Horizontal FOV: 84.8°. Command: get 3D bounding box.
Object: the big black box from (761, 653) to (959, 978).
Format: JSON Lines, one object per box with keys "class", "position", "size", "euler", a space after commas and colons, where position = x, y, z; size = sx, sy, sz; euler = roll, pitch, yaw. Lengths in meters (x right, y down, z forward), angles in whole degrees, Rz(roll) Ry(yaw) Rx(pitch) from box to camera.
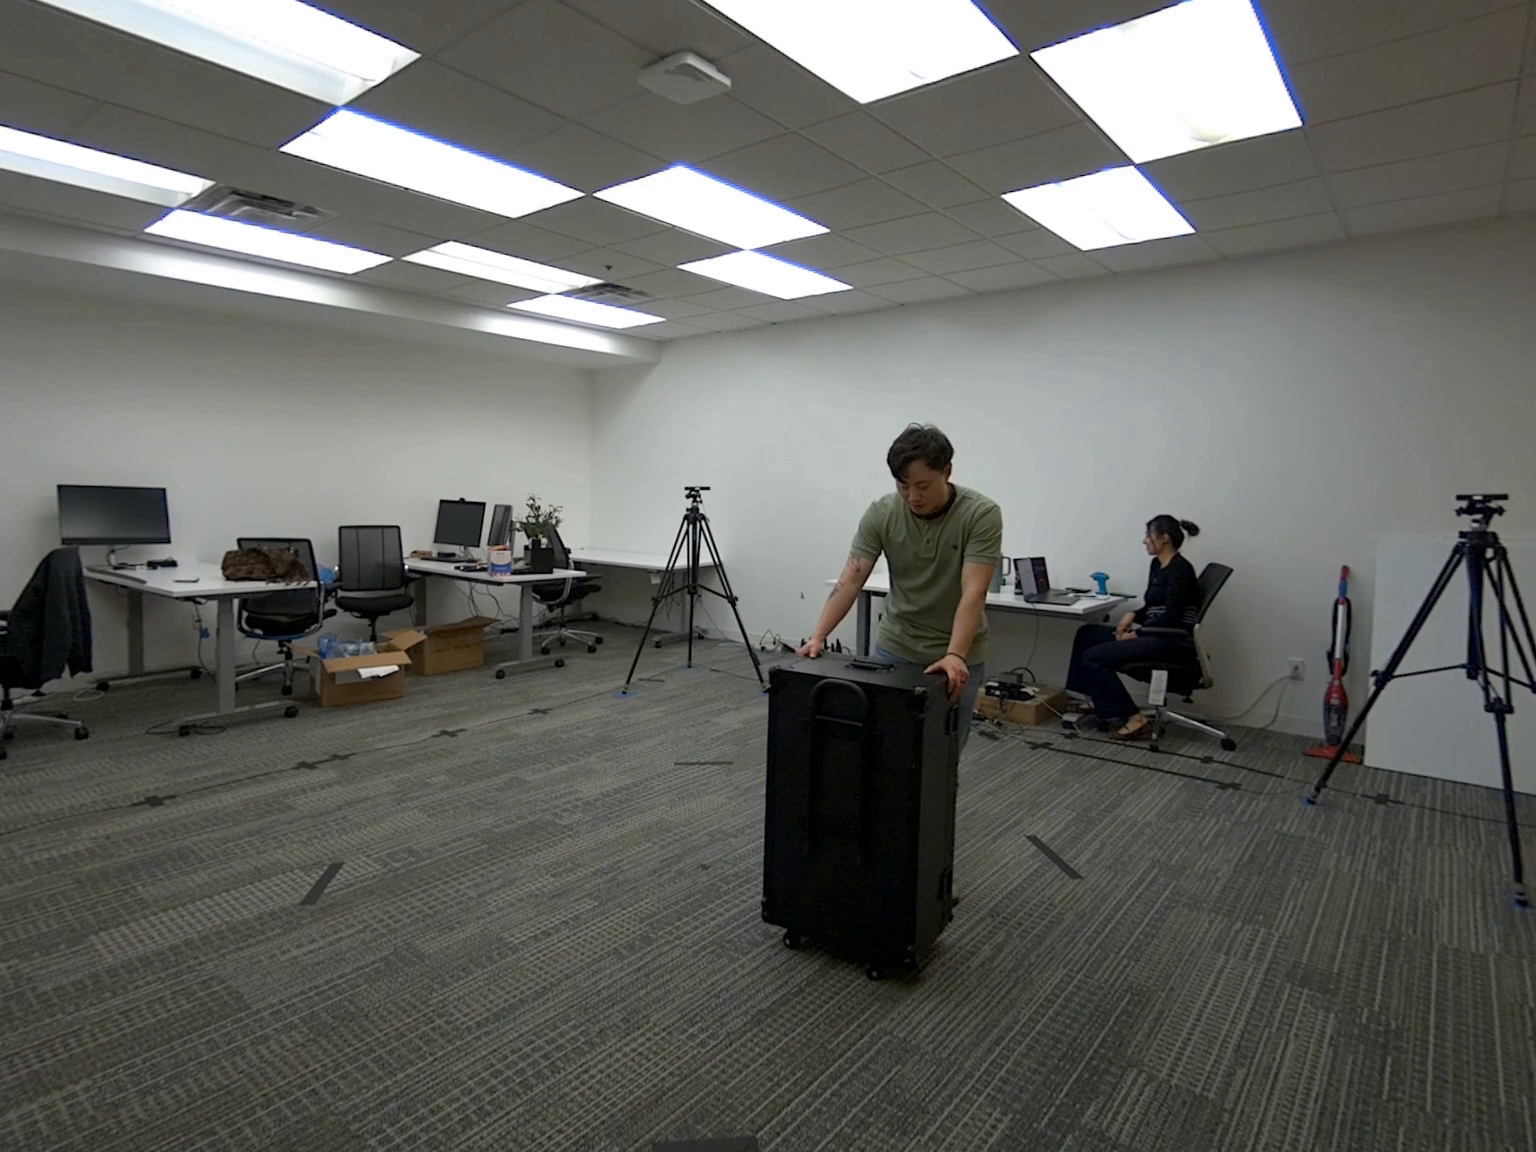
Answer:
{"class": "big black box", "position": [0.276, 0.705, 2.571], "size": [0.537, 0.858, 0.386], "euler": [4, 5, 32]}
